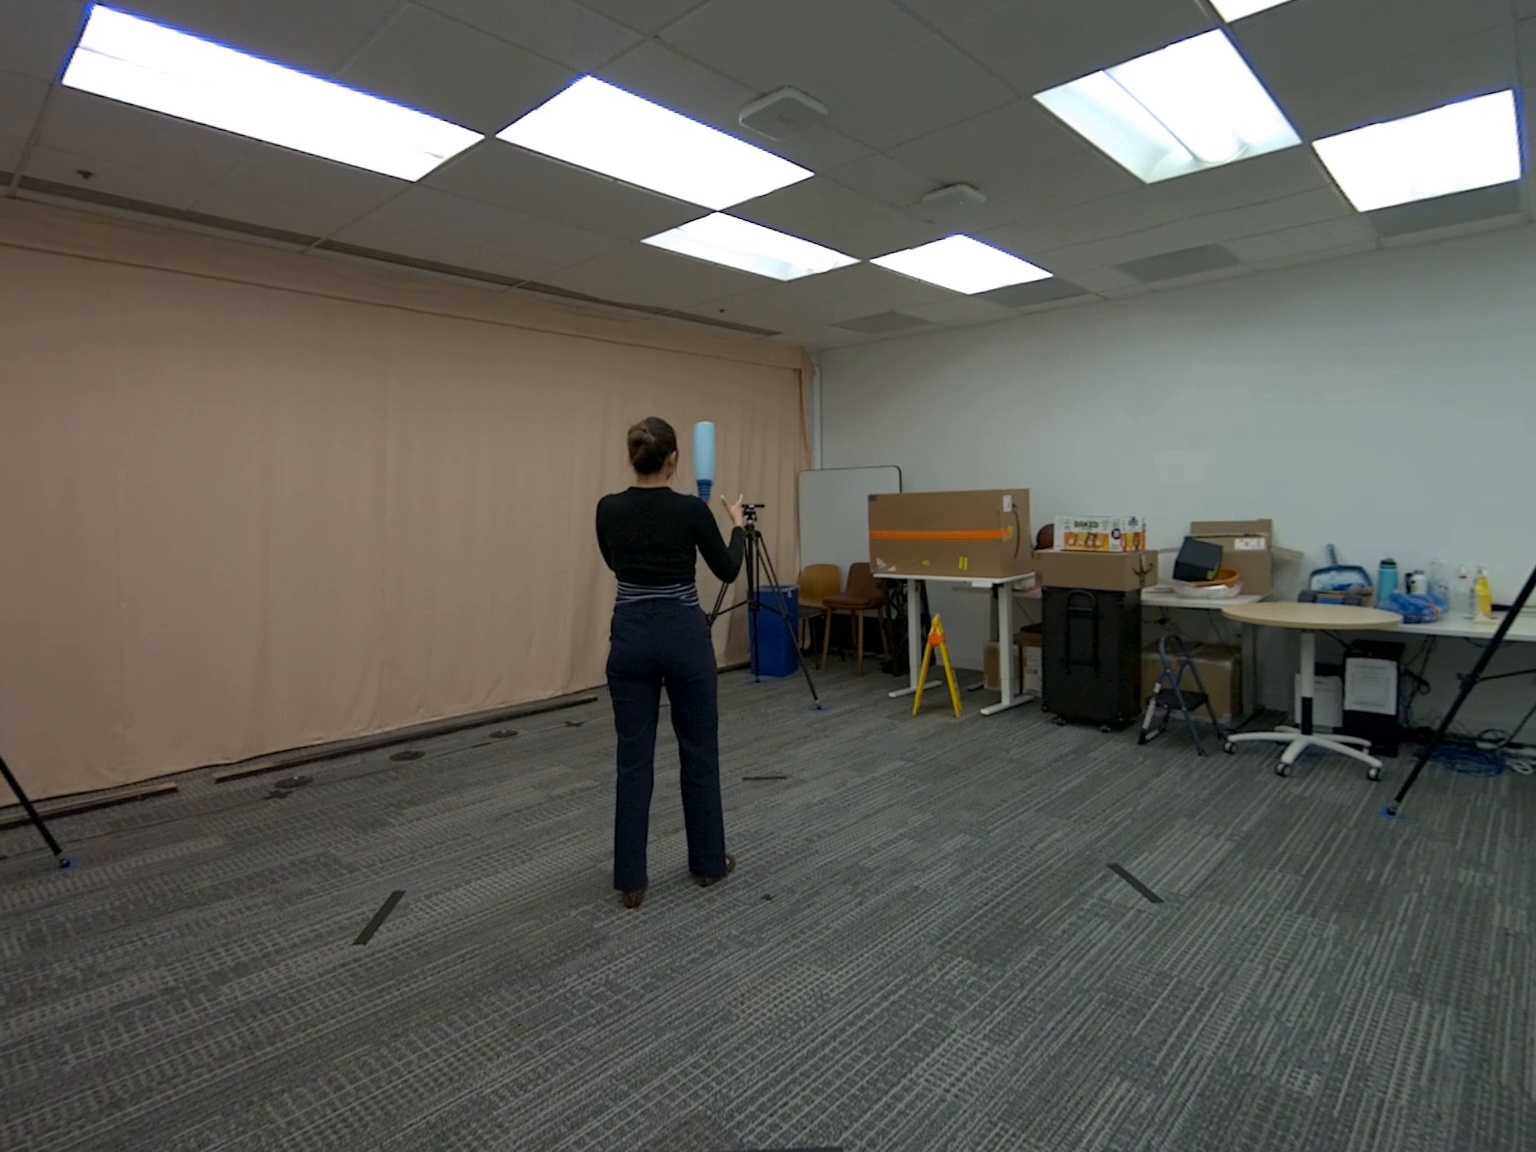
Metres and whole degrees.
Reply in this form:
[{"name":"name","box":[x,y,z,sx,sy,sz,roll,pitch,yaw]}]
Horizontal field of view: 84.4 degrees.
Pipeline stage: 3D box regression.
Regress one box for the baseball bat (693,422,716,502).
[{"name":"baseball bat","box":[-0.263,-0.316,3.420,0.089,0.547,0.088,0,-13,-2]}]
